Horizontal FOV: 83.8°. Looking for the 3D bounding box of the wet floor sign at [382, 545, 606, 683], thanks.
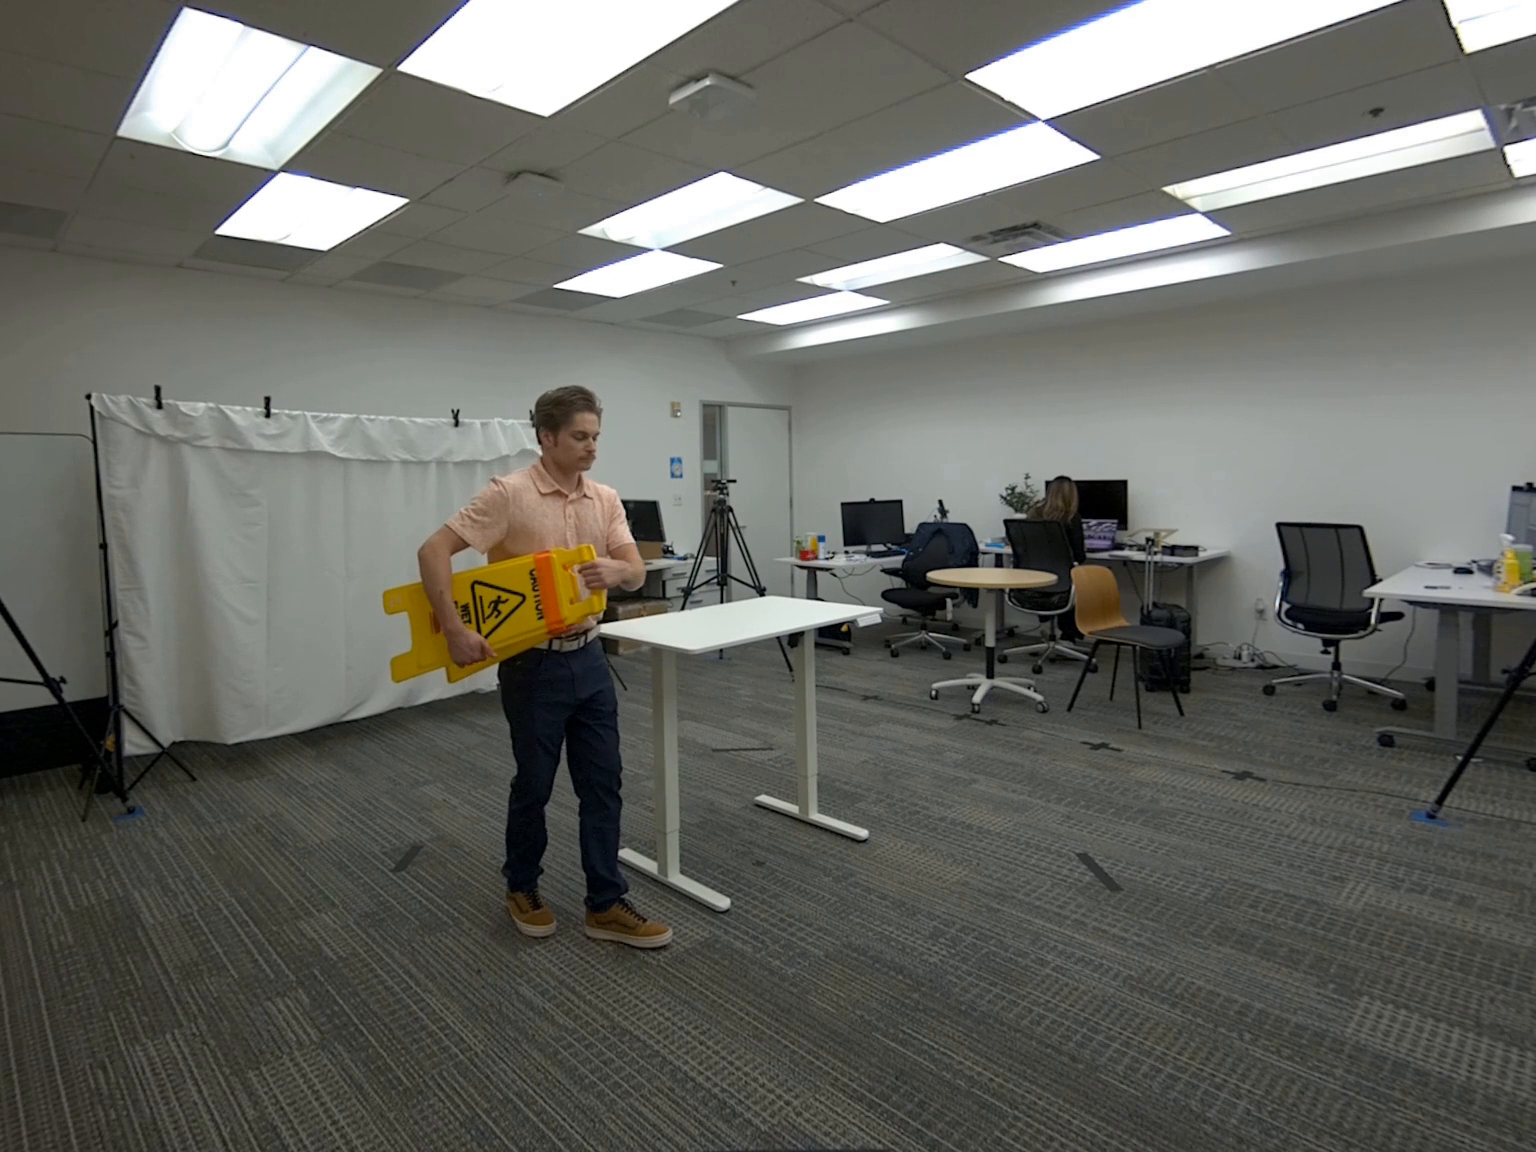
[{"bbox_3d":[-0.768,0.100,2.483,0.652,0.287,0.282,-19,-13,16],"label":"wet floor sign"}]
